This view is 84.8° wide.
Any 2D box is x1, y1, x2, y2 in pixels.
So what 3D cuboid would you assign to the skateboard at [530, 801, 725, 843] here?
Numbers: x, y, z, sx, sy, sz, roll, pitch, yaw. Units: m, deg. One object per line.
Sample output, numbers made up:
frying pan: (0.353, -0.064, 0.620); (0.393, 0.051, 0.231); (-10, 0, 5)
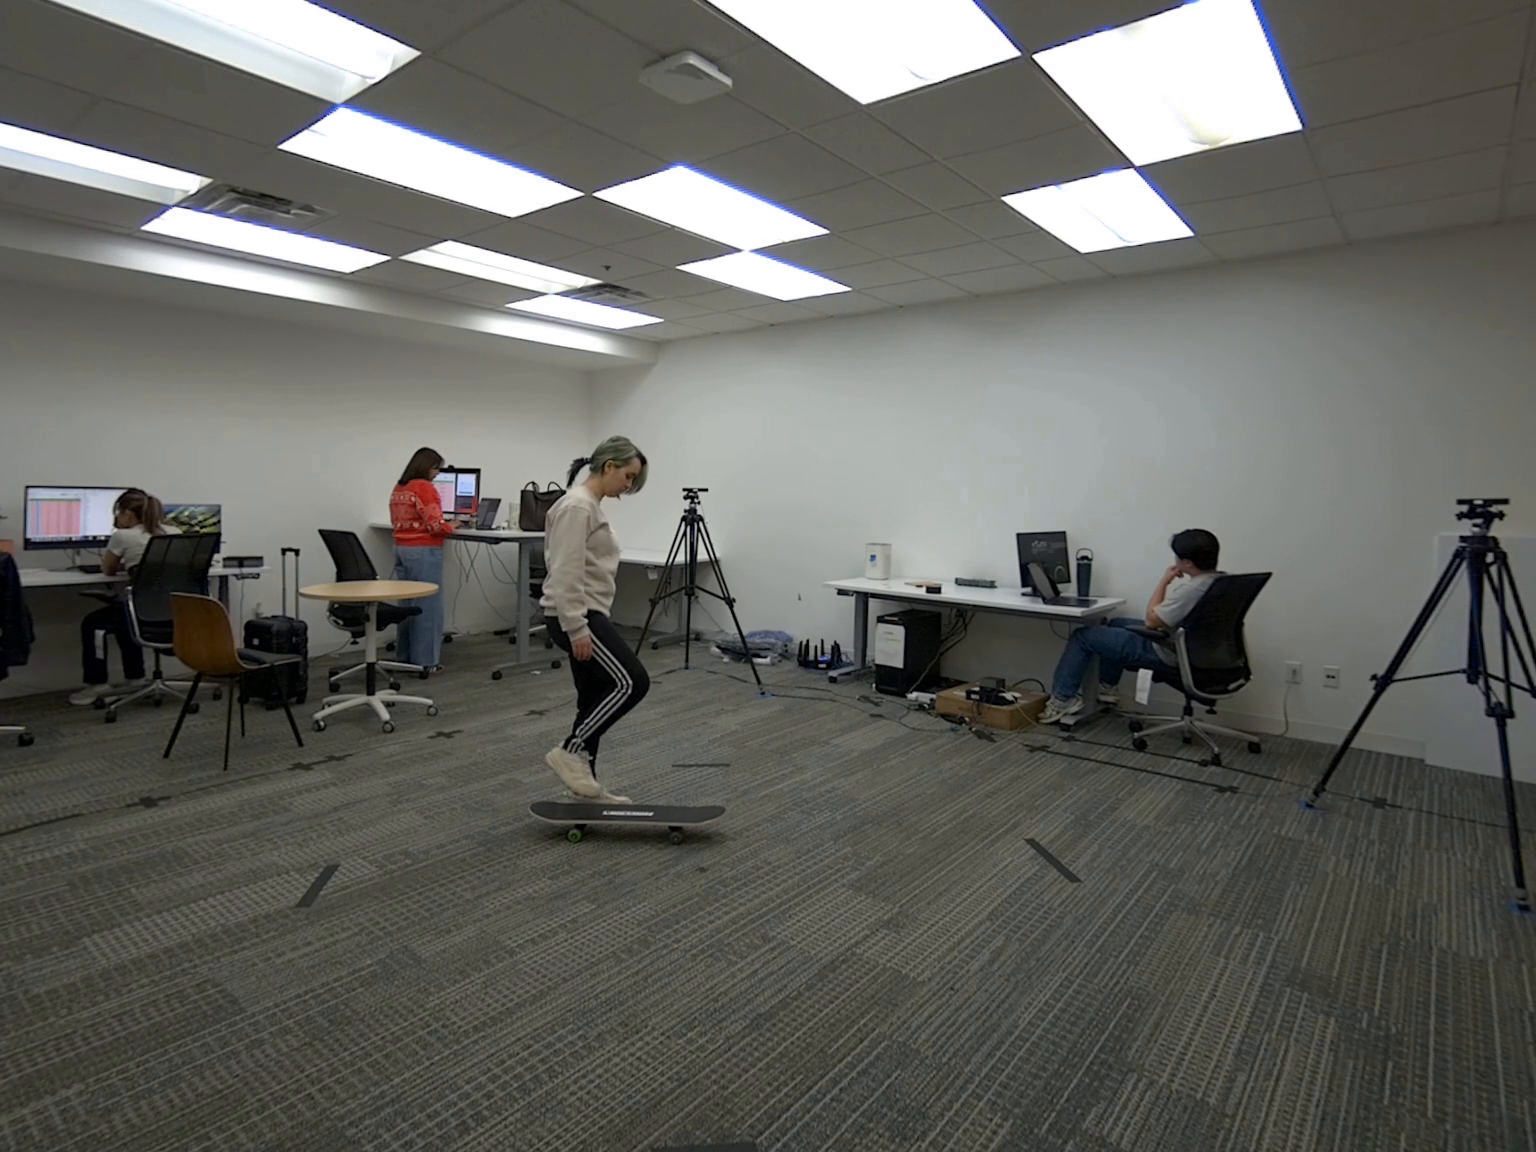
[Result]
skateboard: (-0.573, 0.976, 3.405); (0.785, 0.110, 0.194); (1, 4, 0)
